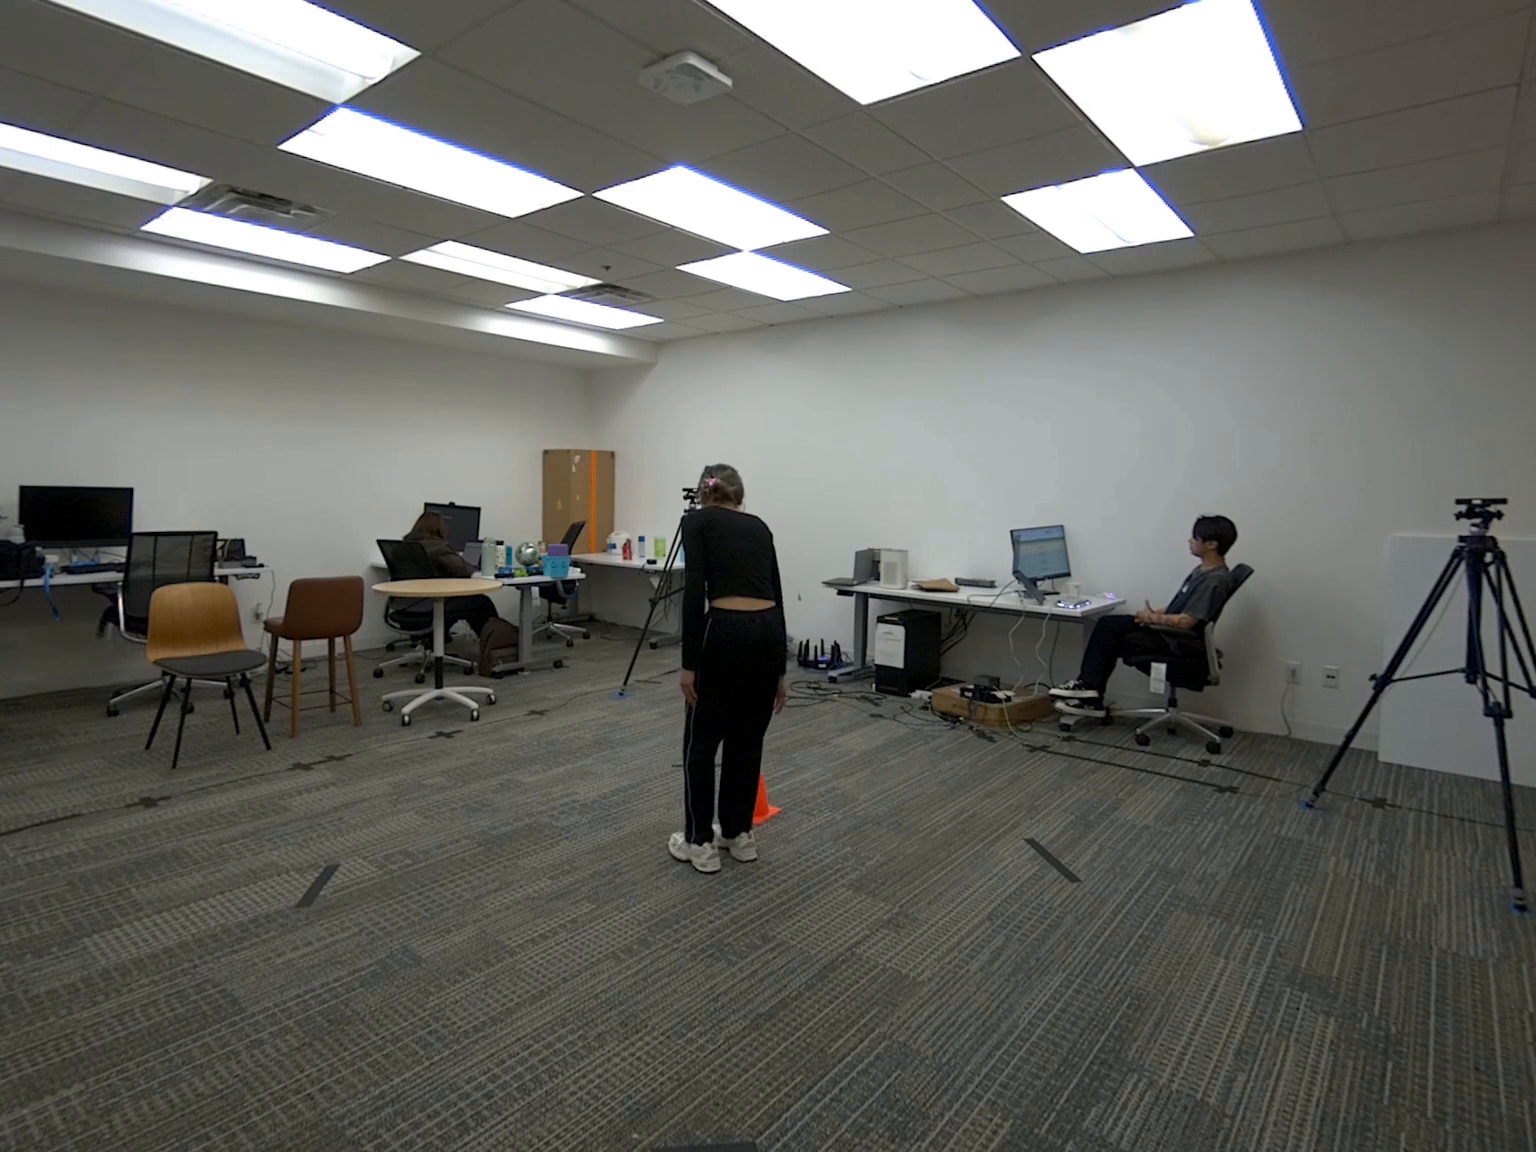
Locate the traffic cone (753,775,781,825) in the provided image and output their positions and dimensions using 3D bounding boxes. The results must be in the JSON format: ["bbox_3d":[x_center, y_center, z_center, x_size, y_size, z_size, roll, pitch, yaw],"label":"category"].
[{"bbox_3d":[-0.078,0.830,3.677,0.212,0.382,0.197,5,5,38],"label":"traffic cone"}]
